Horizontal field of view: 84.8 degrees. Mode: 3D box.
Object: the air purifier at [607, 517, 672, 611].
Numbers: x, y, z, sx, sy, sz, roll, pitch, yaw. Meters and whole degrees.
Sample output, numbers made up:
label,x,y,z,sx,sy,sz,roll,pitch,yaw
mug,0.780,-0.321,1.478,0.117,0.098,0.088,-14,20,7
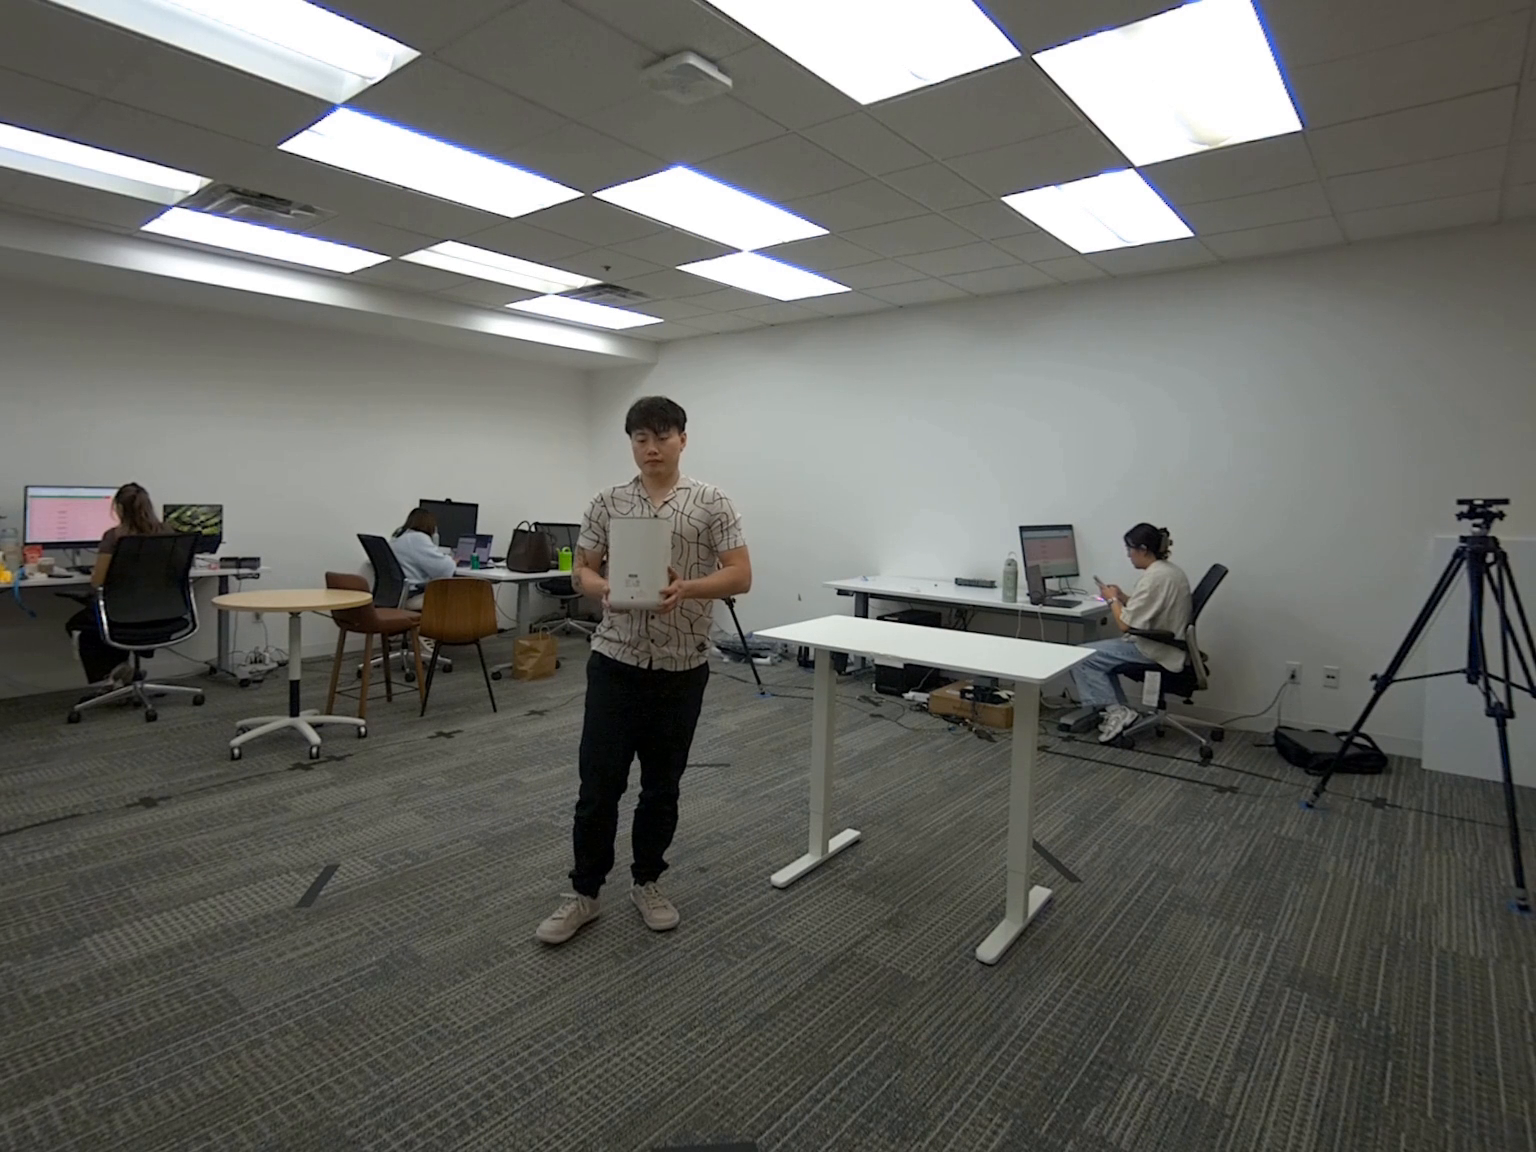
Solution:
label,x,y,z,sx,sy,sz,roll,pitch,yaw
air purifier,-0.388,-0.035,2.506,0.172,0.267,0.170,0,-6,3
